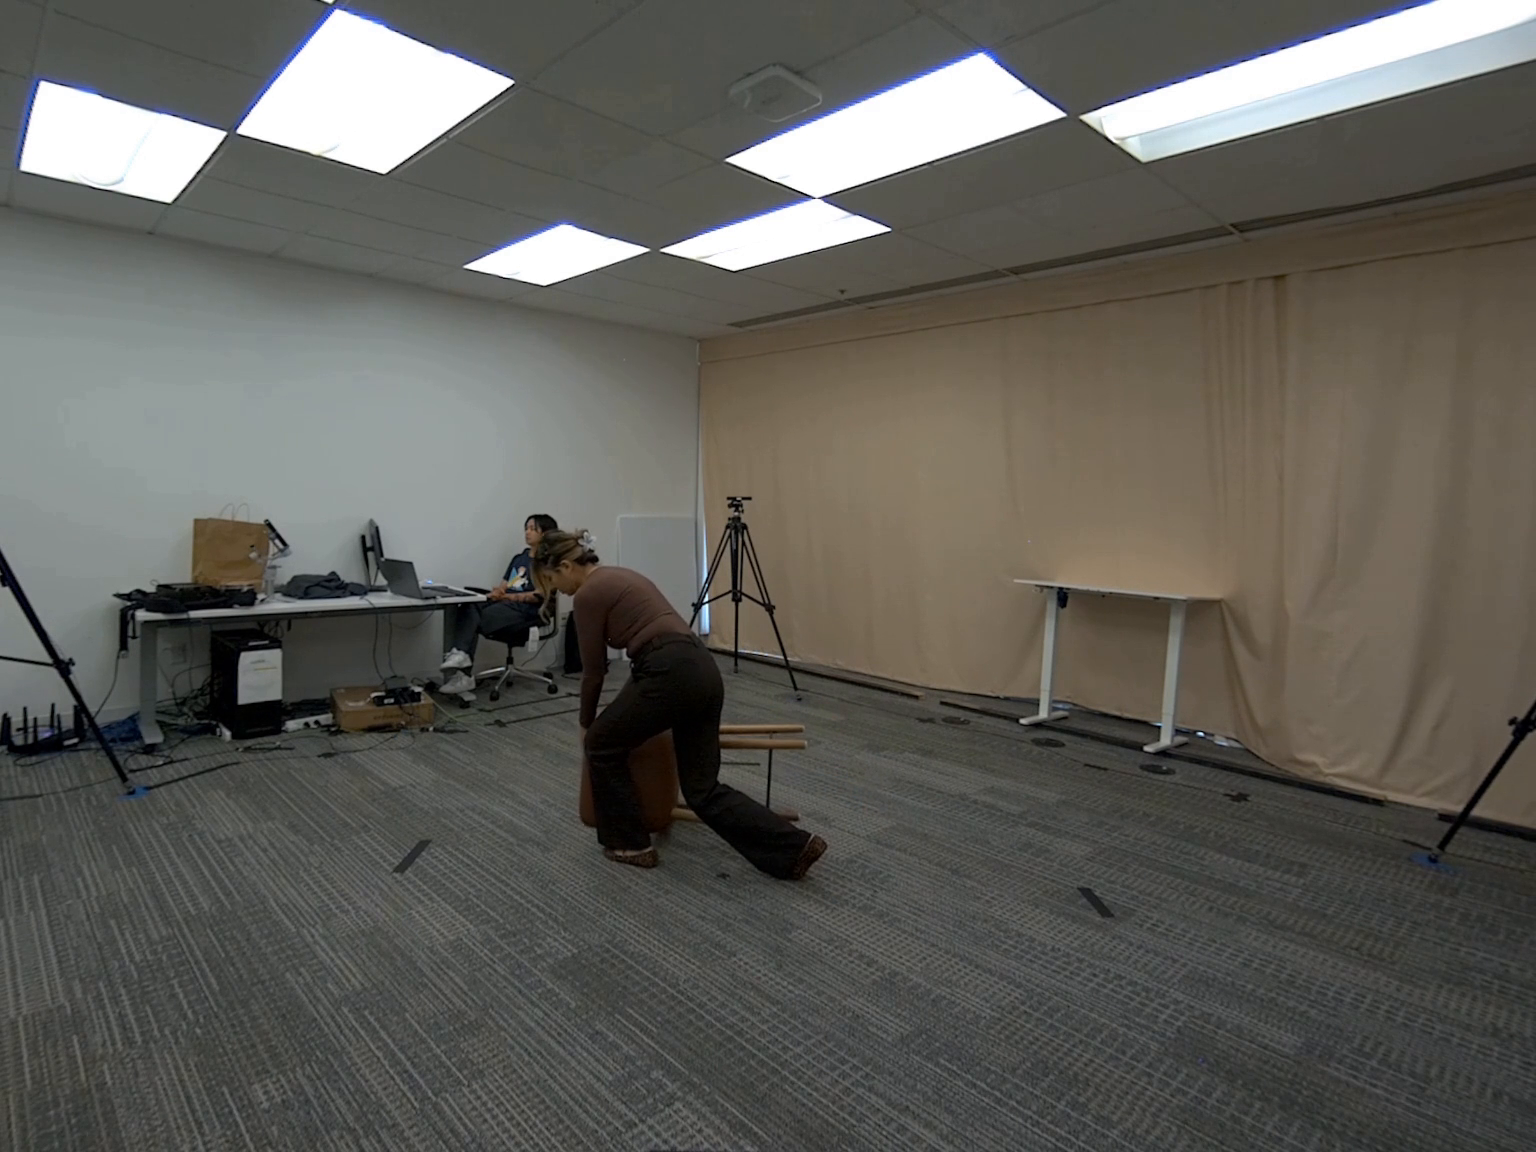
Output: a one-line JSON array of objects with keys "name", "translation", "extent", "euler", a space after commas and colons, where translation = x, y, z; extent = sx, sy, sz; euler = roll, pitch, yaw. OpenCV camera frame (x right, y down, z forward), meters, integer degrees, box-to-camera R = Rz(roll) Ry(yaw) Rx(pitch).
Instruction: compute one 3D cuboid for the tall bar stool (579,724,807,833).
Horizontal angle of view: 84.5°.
[{"name": "tall bar stool", "translation": [-0.296, 0.829, 3.506], "extent": [0.891, 0.458, 0.466], "euler": [2, -3, 1]}]
